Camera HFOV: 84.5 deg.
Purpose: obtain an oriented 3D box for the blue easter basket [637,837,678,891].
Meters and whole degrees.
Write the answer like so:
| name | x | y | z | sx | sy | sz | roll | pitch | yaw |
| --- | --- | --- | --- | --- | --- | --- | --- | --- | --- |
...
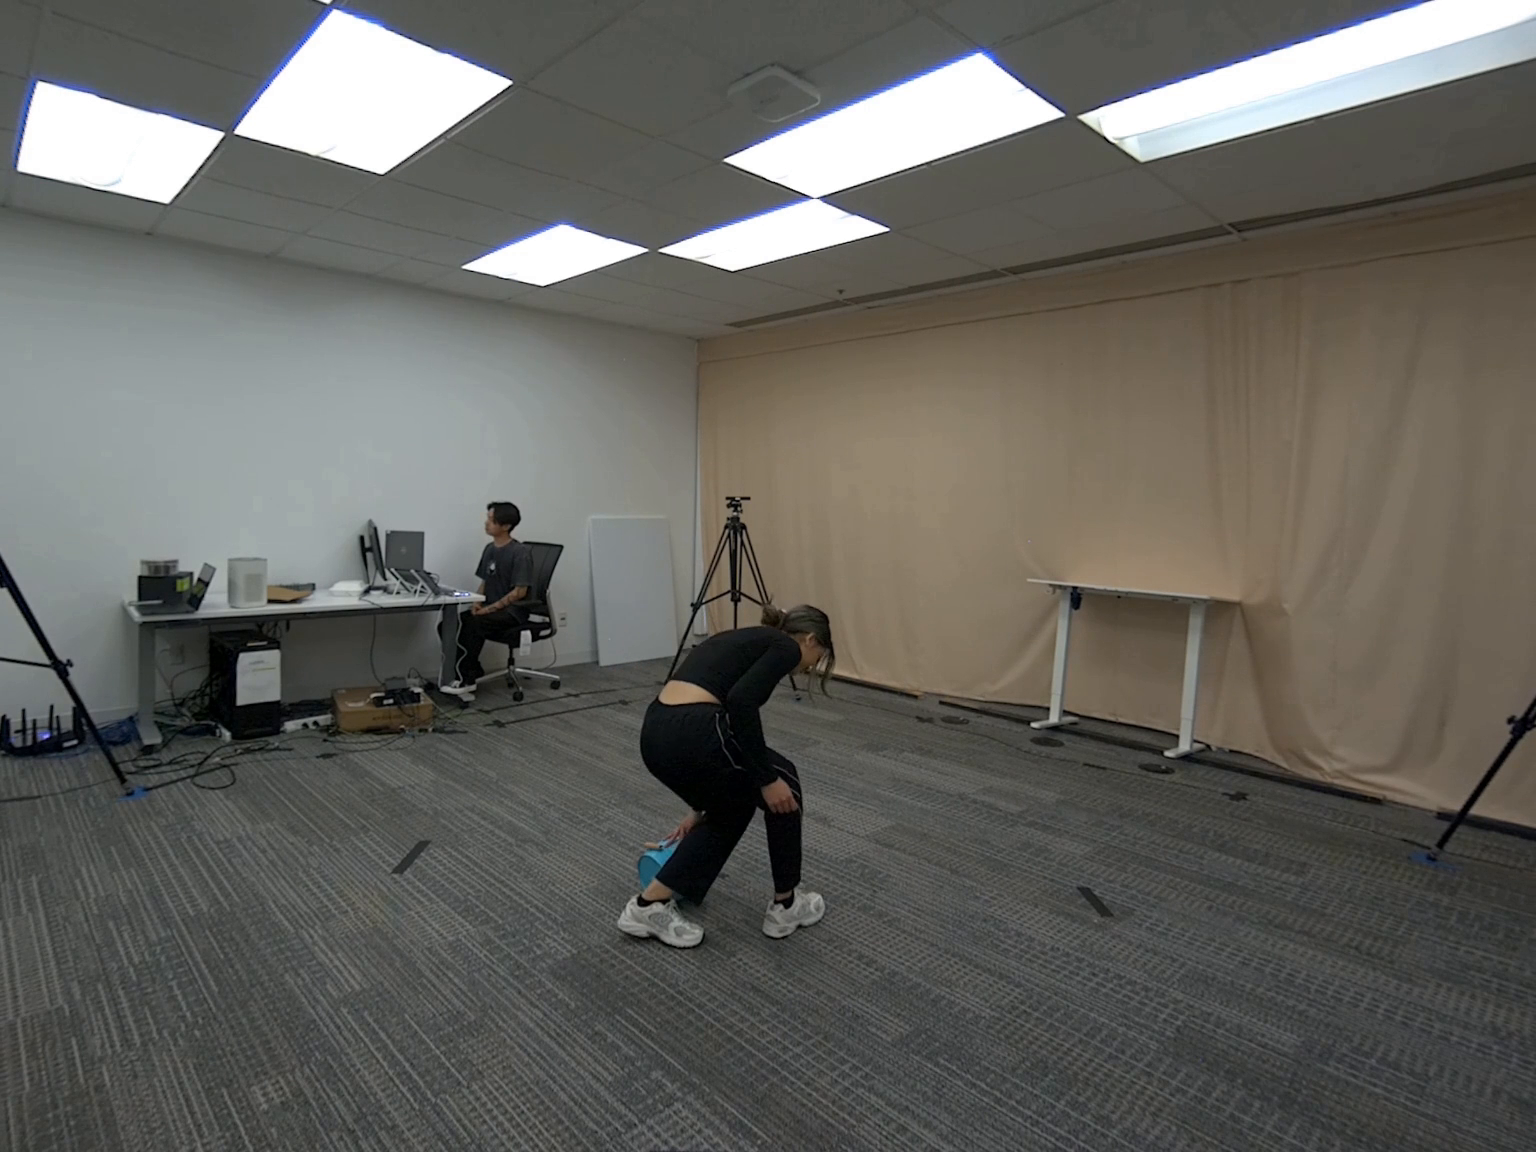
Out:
| name | x | y | z | sx | sy | sz | roll | pitch | yaw |
| --- | --- | --- | --- | --- | --- | --- | --- | --- | --- |
| blue easter basket | -0.338 | 1.011 | 2.914 | 0.153 | 0.241 | 0.250 | -15 | 14 | -43 |
